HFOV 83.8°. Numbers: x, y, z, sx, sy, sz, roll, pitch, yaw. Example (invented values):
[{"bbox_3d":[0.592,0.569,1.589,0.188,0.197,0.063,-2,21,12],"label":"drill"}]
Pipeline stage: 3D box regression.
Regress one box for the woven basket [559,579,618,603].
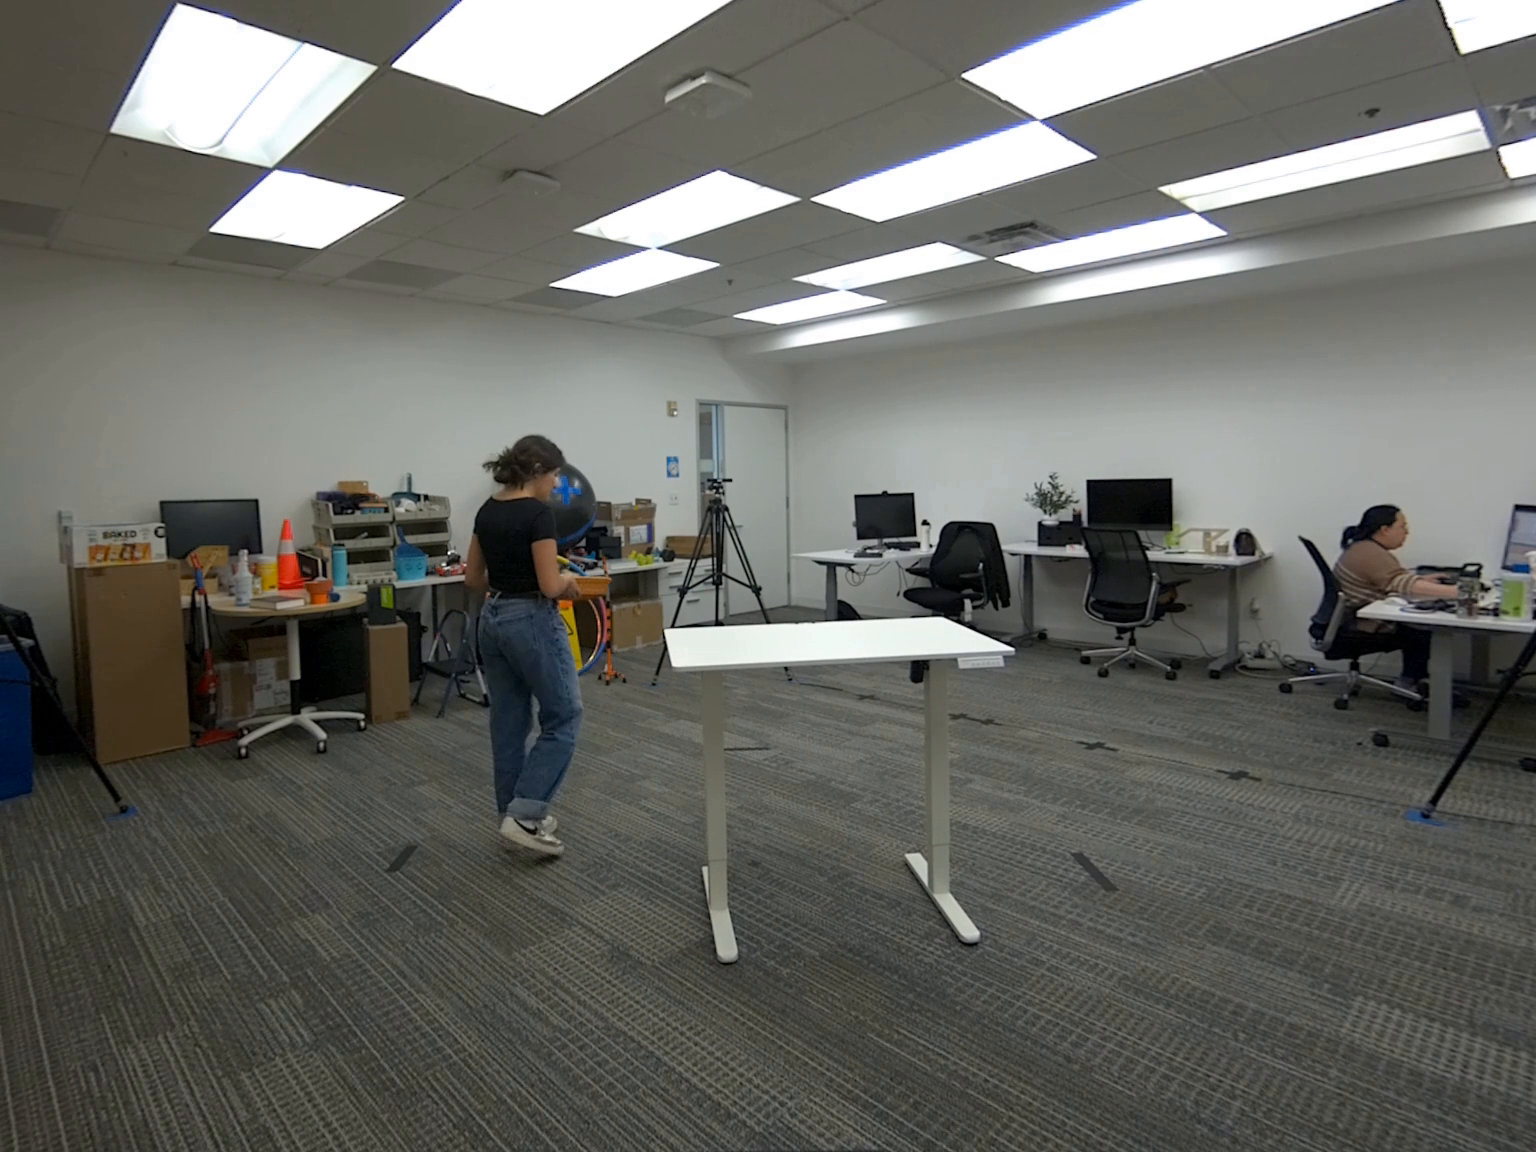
[{"bbox_3d":[-0.833,0.063,3.545,0.258,0.074,0.341,-6,-4,28],"label":"woven basket"}]
